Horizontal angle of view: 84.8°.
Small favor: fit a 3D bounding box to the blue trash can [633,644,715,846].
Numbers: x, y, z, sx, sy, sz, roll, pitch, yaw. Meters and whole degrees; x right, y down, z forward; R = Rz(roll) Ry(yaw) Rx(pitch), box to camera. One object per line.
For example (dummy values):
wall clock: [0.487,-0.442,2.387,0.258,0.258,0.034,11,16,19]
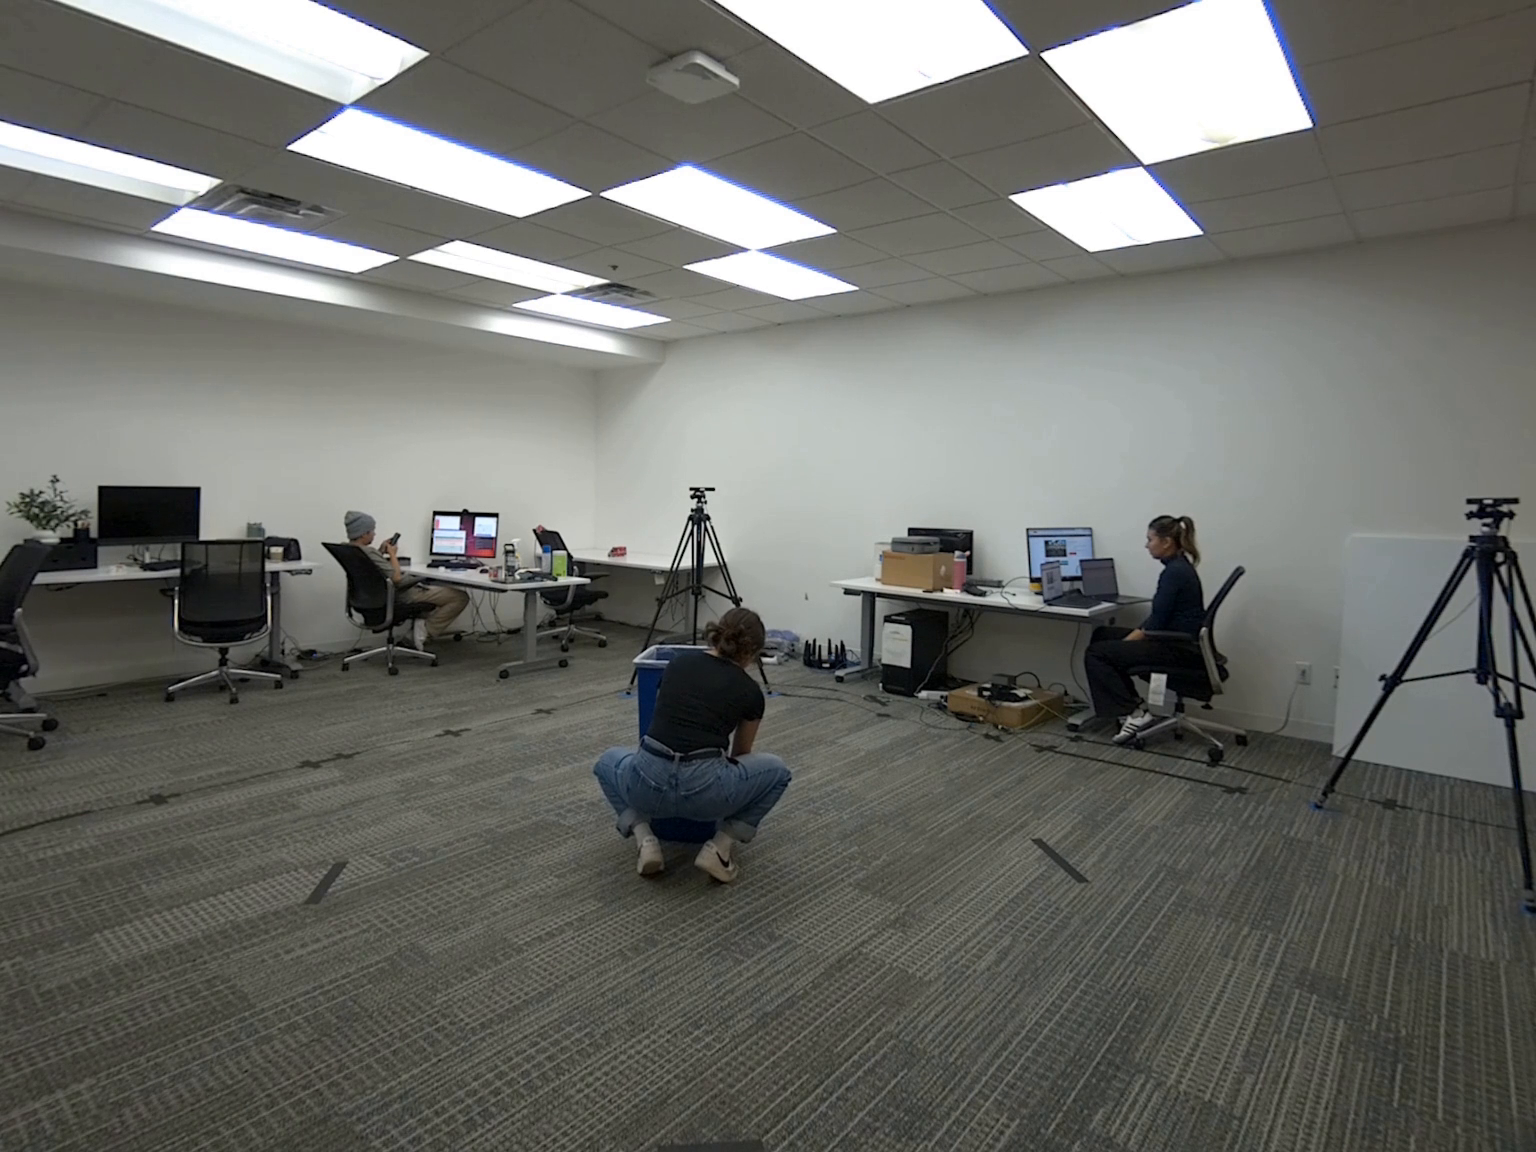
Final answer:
blue trash can: [-0.352,0.666,3.475,0.378,0.712,0.376,2,3,7]
